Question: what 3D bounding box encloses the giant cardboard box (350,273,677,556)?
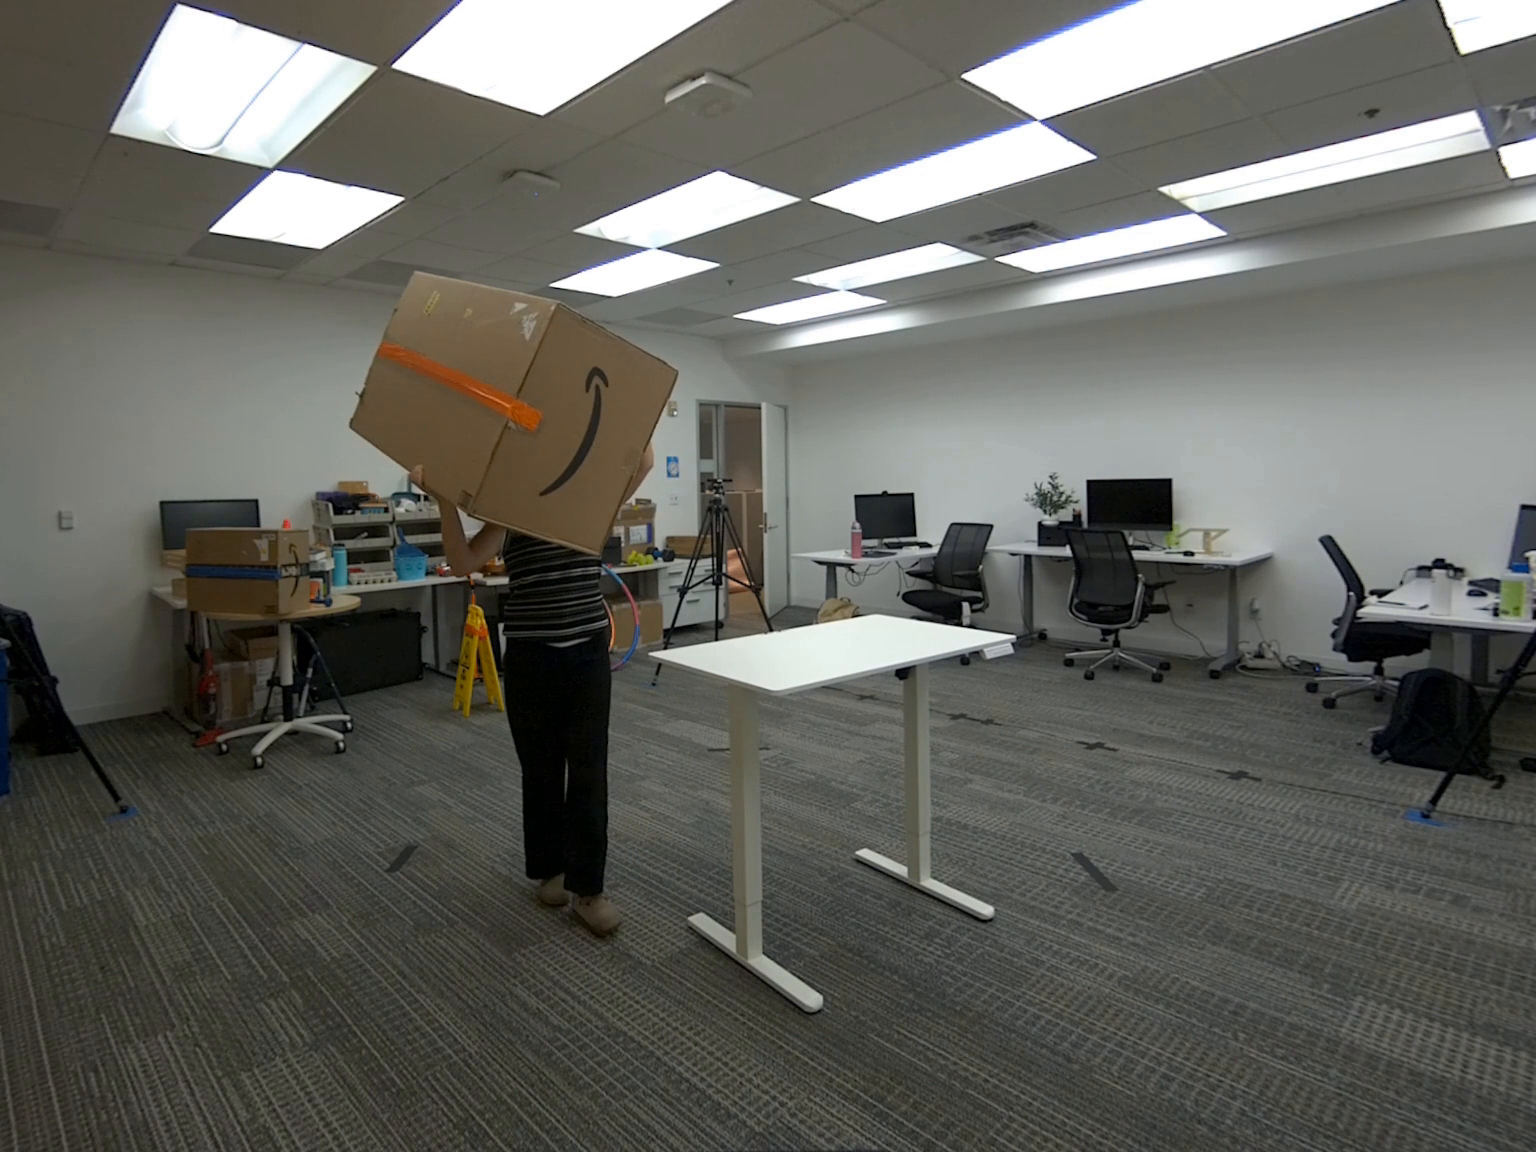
[{"bbox_3d":[-0.825,-0.527,2.623,0.410,0.577,1.065,22,3,-45],"label":"giant cardboard box"}]
